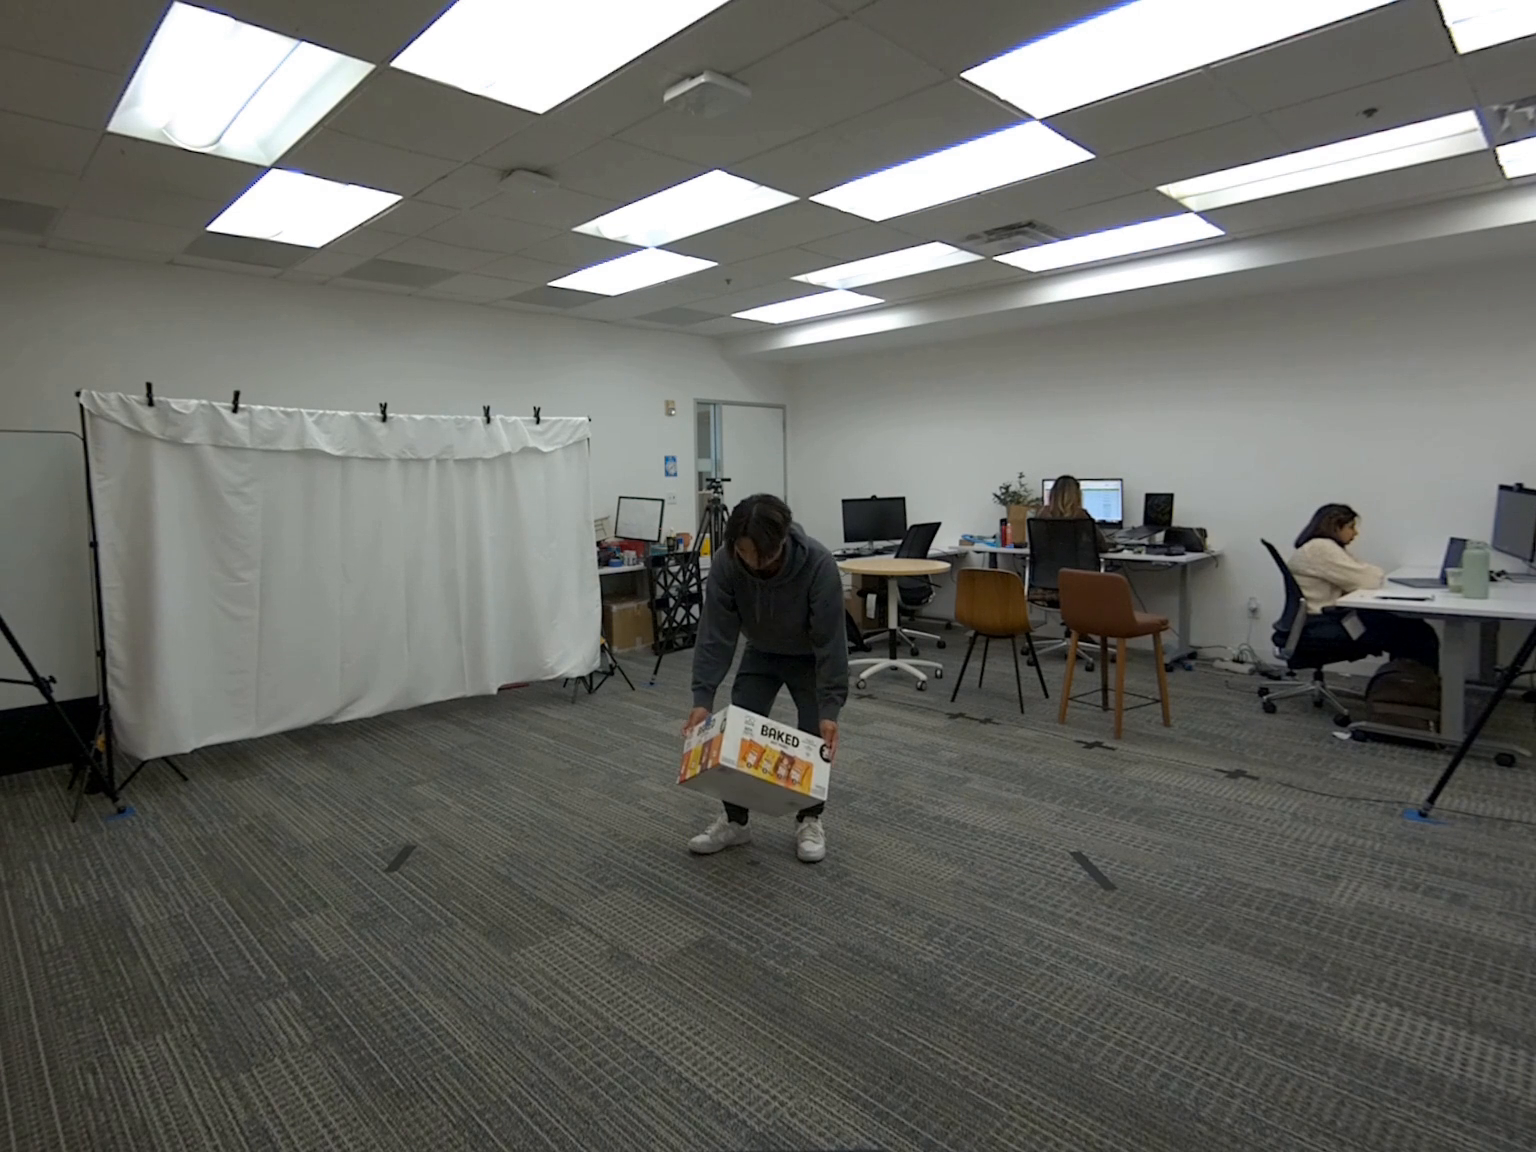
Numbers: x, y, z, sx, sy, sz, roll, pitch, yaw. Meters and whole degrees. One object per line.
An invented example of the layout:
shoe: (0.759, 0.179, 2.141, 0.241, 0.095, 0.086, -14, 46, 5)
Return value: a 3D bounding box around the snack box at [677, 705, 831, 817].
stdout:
snack box: (-0.049, 0.646, 2.928, 0.397, 0.209, 0.341, 24, -34, -18)
